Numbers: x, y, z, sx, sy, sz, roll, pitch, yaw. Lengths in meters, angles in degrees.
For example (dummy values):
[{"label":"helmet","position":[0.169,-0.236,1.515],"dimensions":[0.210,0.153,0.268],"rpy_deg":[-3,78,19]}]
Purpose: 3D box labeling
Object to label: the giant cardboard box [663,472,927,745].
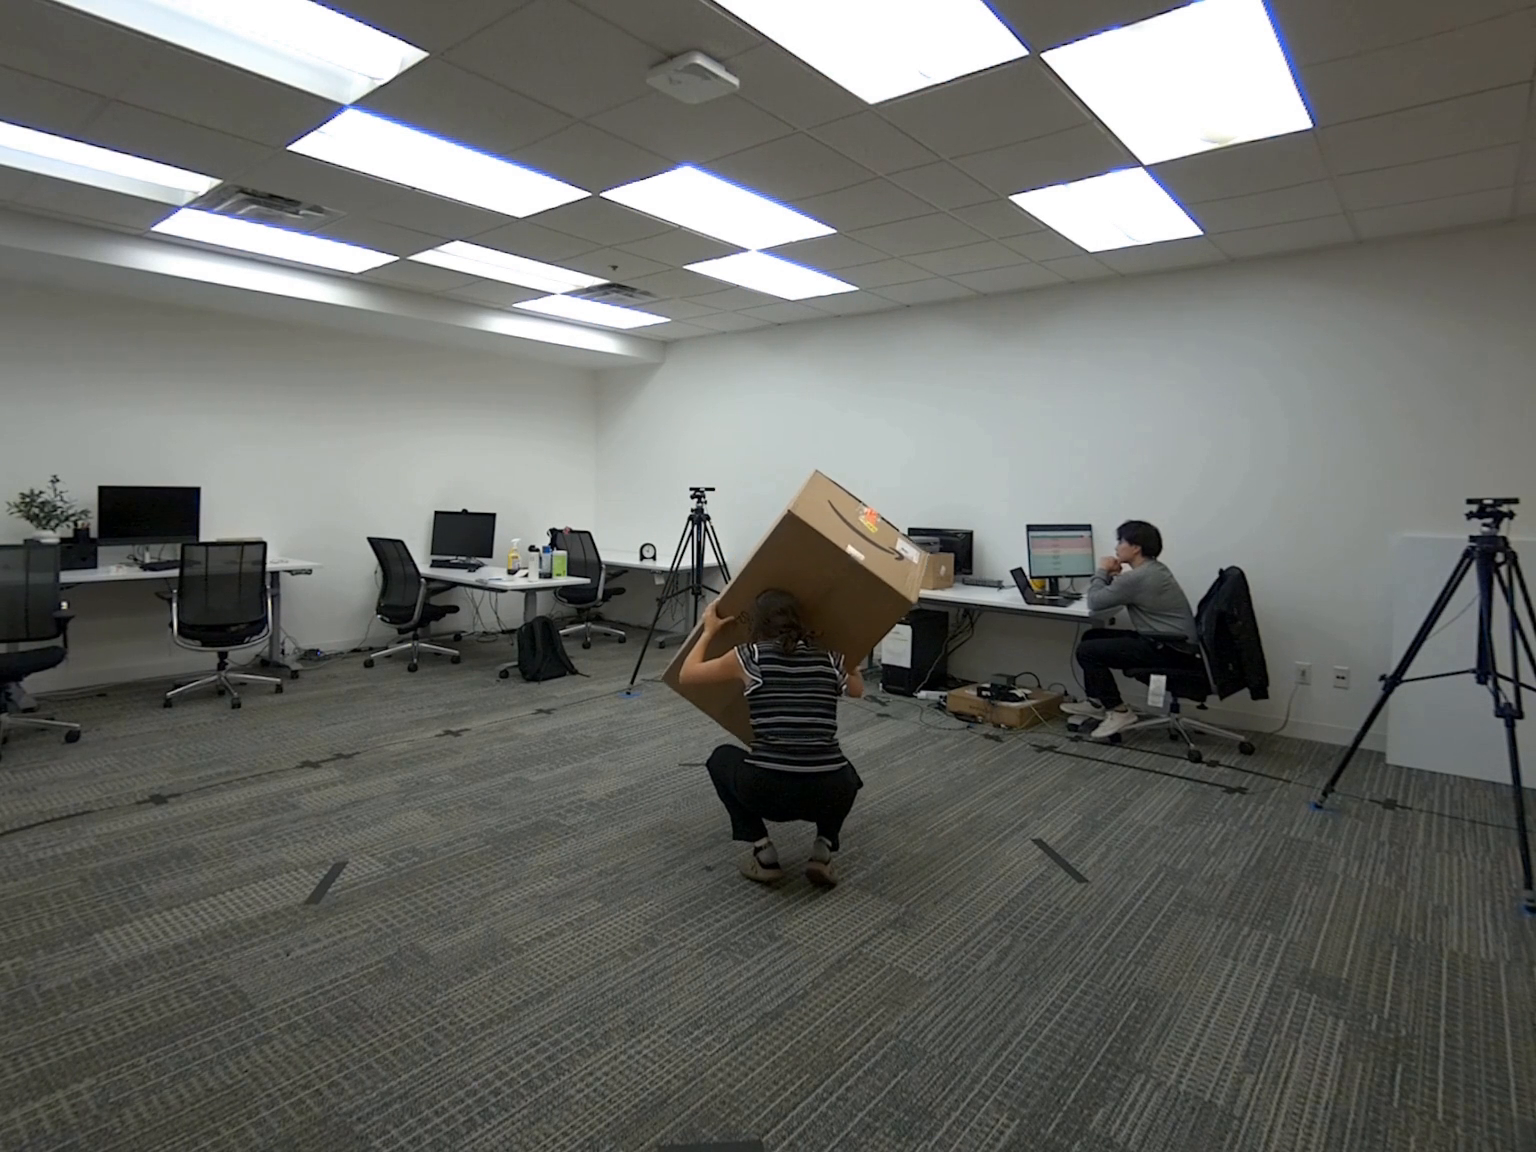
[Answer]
[{"label":"giant cardboard box","position":[0.083,0.164,3.497],"dimensions":[0.578,1.022,0.428],"rpy_deg":[38,32,-1]}]
